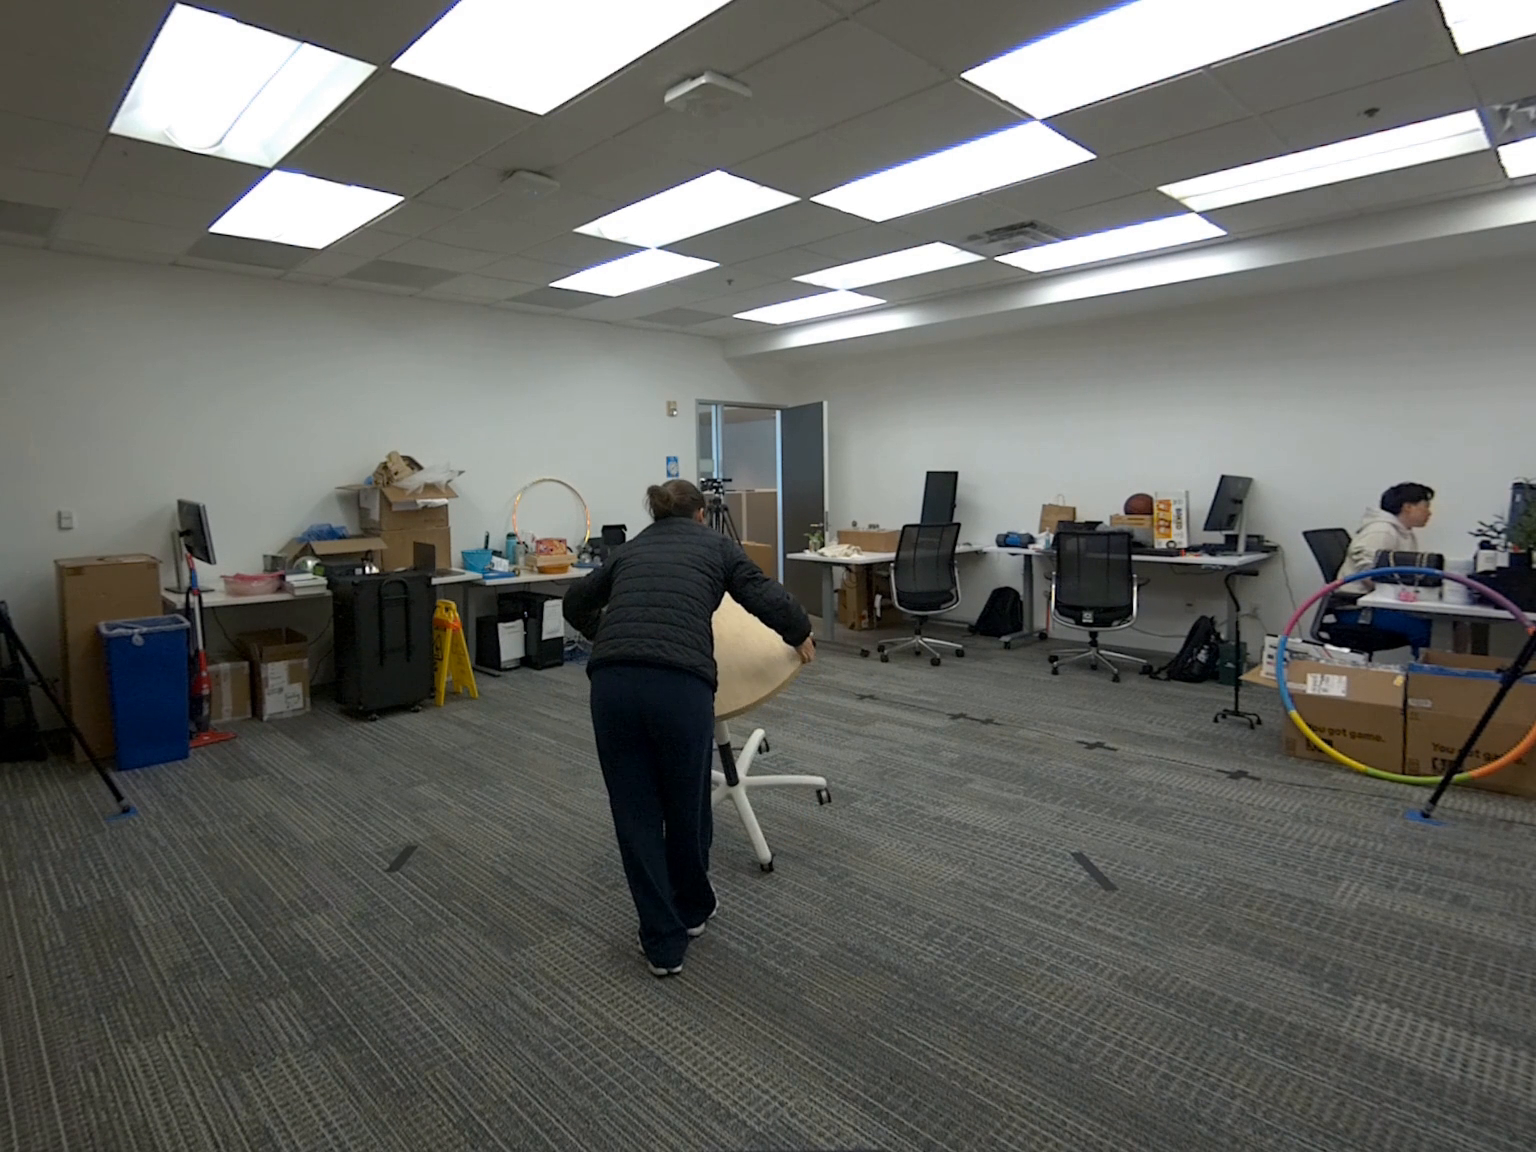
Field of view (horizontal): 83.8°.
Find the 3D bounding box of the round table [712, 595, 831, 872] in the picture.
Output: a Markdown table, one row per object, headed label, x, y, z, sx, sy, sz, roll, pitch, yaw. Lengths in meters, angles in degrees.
| label | x | y | z | sx | sy | sz | roll | pitch | yaw |
| --- | --- | --- | --- | --- | --- | --- | --- | --- | --- |
| round table | -0.175 | 0.575 | 3.149 | 0.788 | 0.765 | 0.804 | -9 | 29 | 3 |
